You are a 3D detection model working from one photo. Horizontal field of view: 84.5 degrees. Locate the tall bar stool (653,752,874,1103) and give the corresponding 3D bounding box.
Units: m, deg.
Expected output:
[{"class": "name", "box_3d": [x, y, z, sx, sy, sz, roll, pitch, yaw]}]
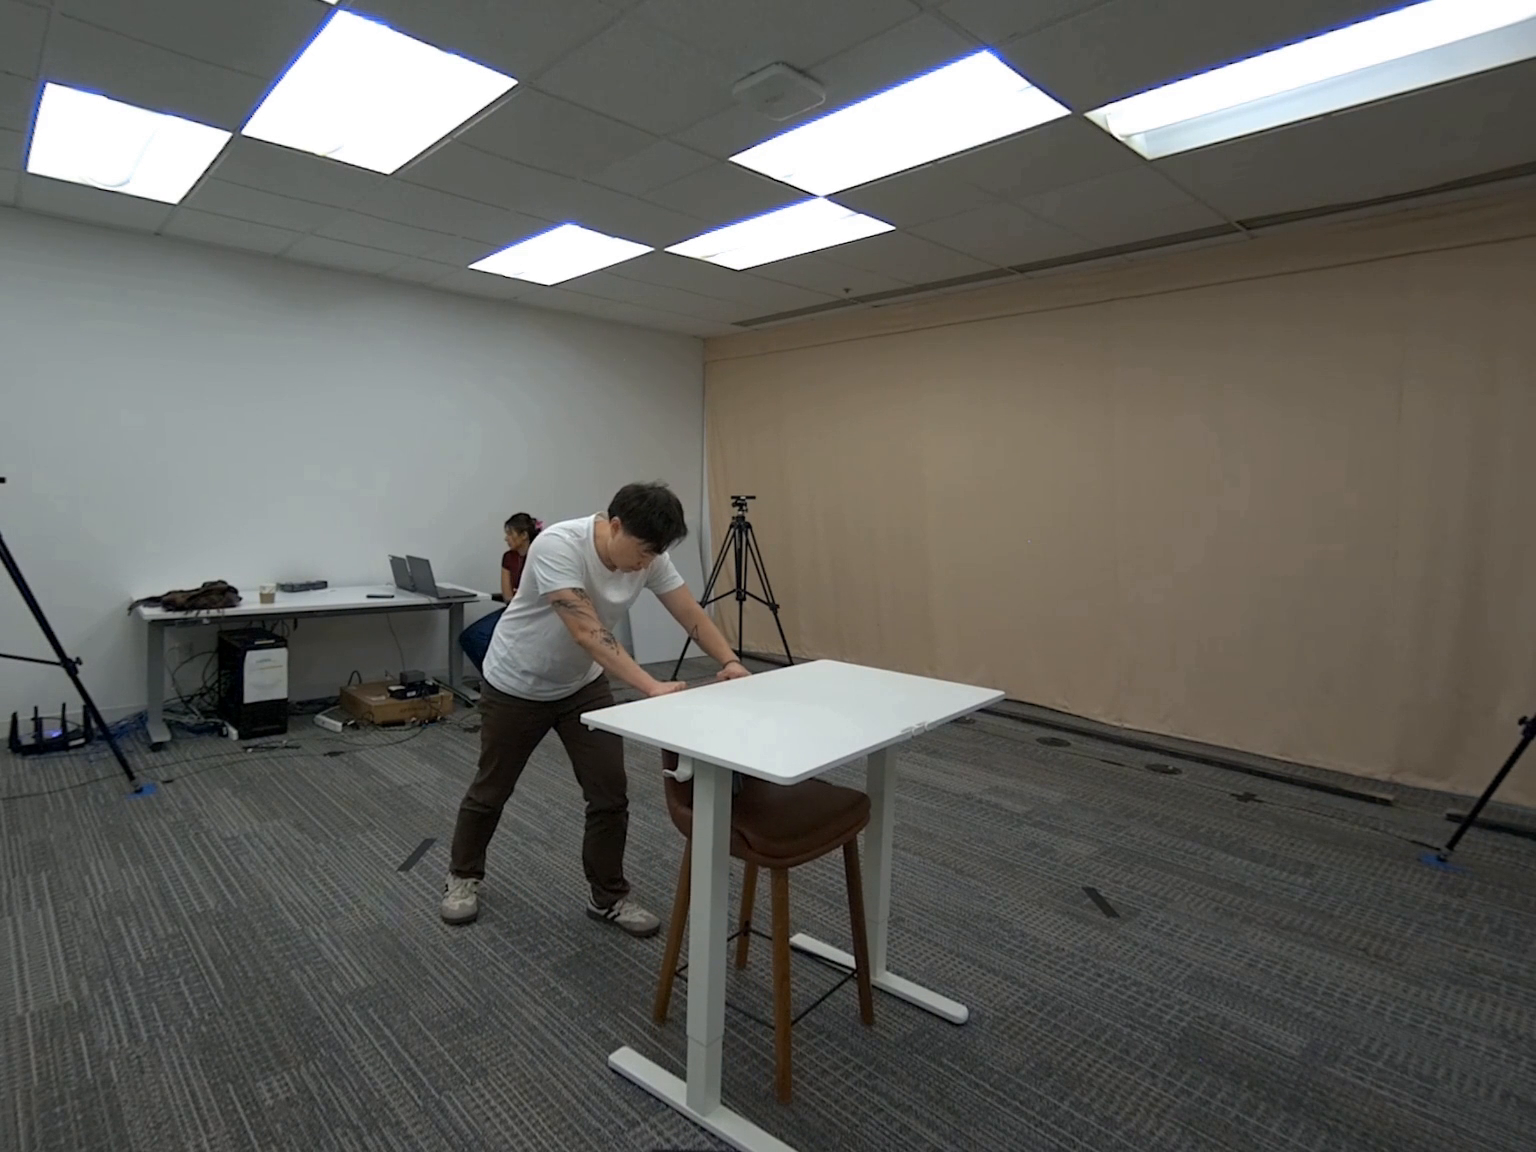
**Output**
[{"class": "tall bar stool", "box_3d": [-0.017, 0.756, 2.206, 0.479, 0.888, 0.446, 2, 3, 39]}]
